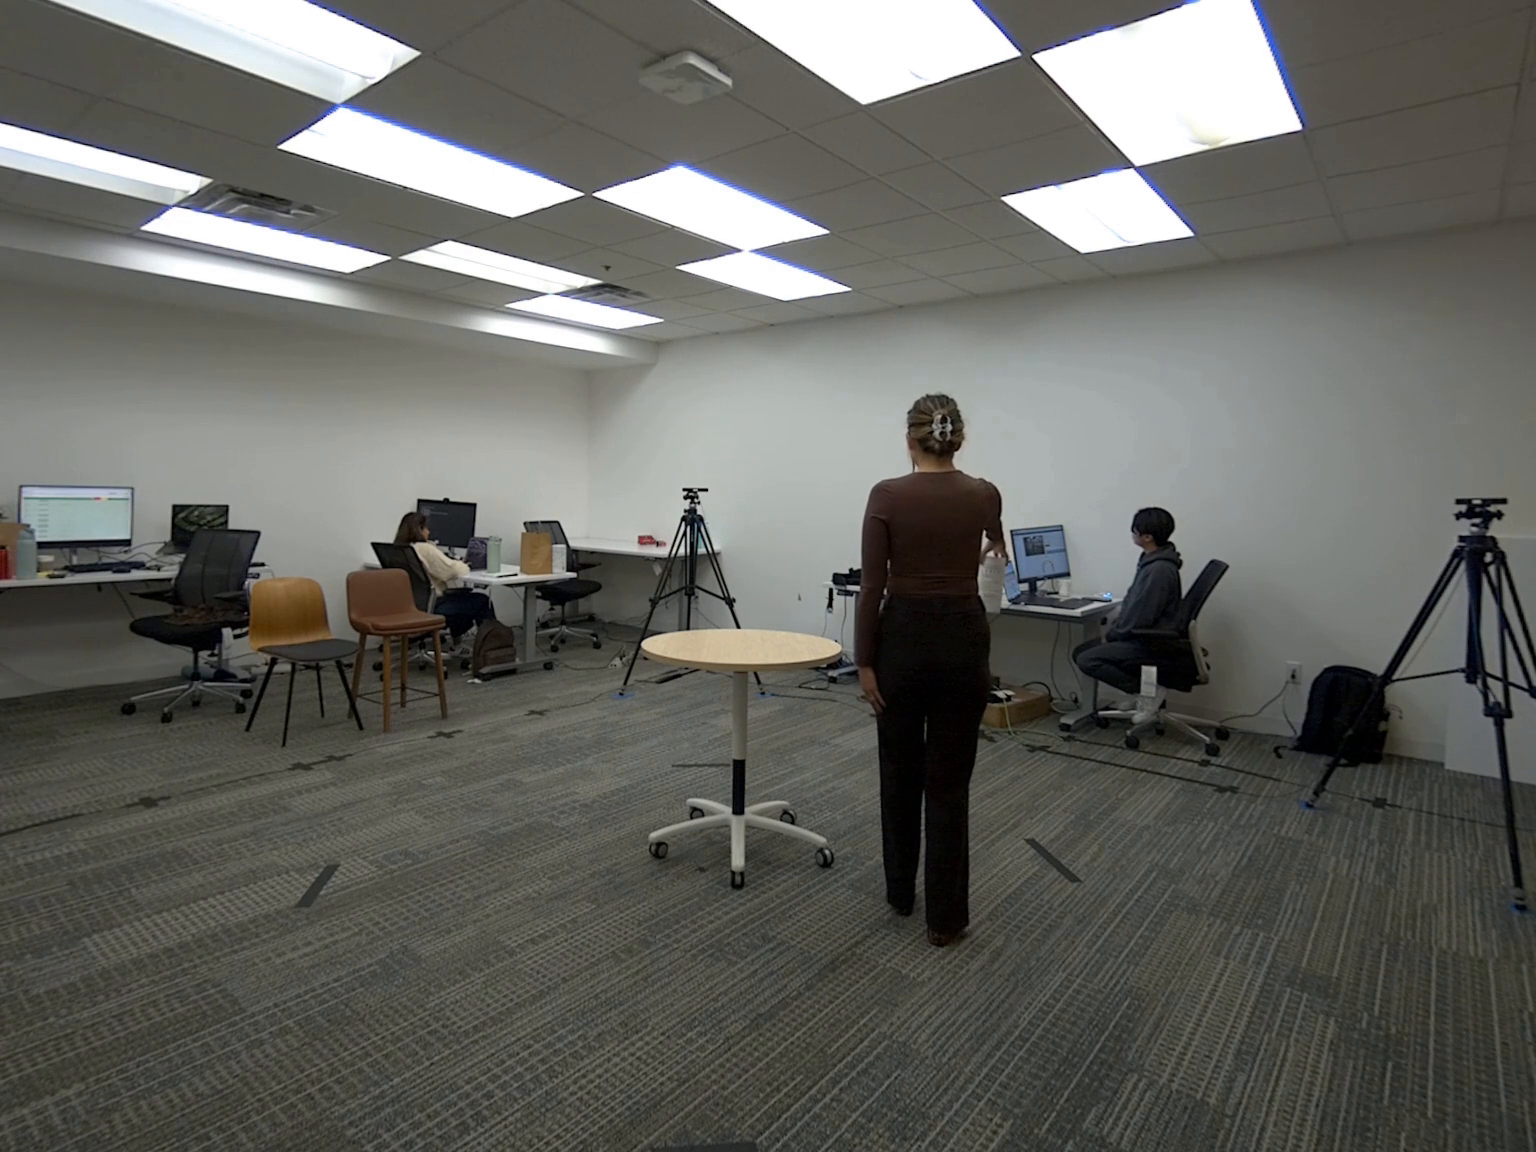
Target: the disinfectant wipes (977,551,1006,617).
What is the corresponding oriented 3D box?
[{"bbox_3d":[0.841,0.027,3.276,0.117,0.217,0.118,4,1,-2],"label":"disinfectant wipes"}]
